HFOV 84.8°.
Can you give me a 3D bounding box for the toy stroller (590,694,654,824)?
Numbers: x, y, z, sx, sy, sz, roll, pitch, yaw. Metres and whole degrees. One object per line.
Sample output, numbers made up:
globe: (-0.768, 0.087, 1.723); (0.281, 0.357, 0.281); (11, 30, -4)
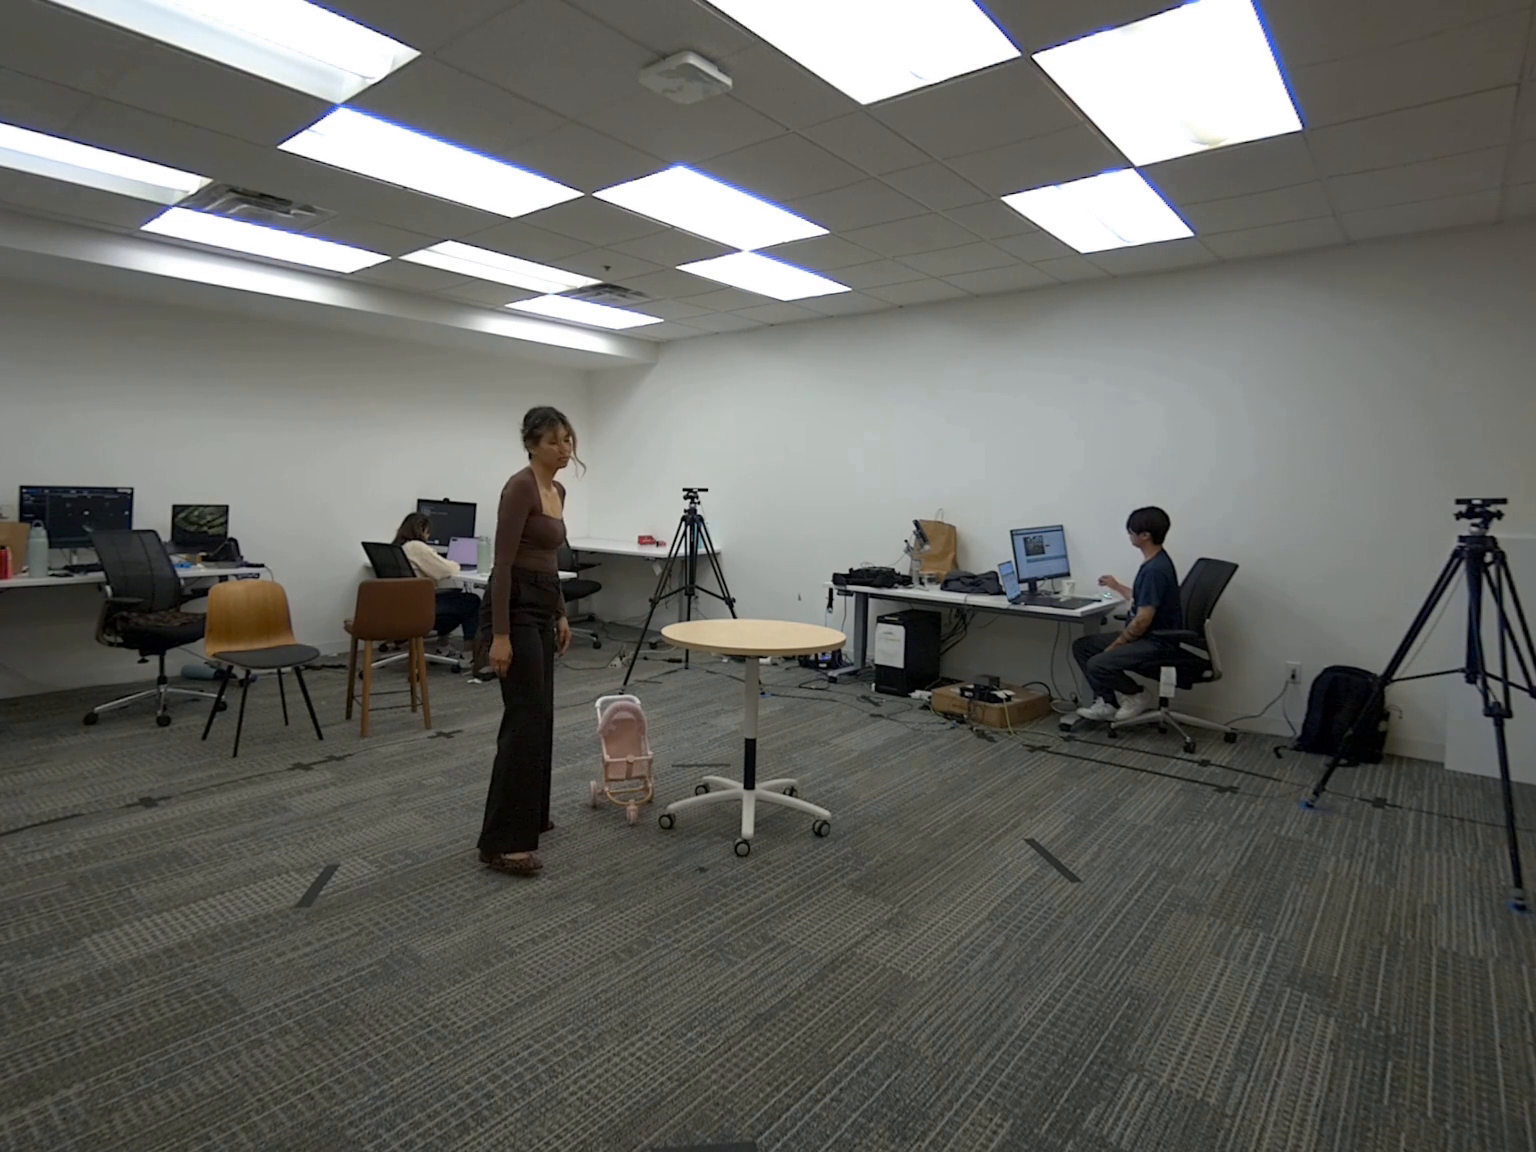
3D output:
toy stroller: (-0.634, 0.779, 3.682); (0.277, 0.541, 0.342); (-1, -11, -15)
